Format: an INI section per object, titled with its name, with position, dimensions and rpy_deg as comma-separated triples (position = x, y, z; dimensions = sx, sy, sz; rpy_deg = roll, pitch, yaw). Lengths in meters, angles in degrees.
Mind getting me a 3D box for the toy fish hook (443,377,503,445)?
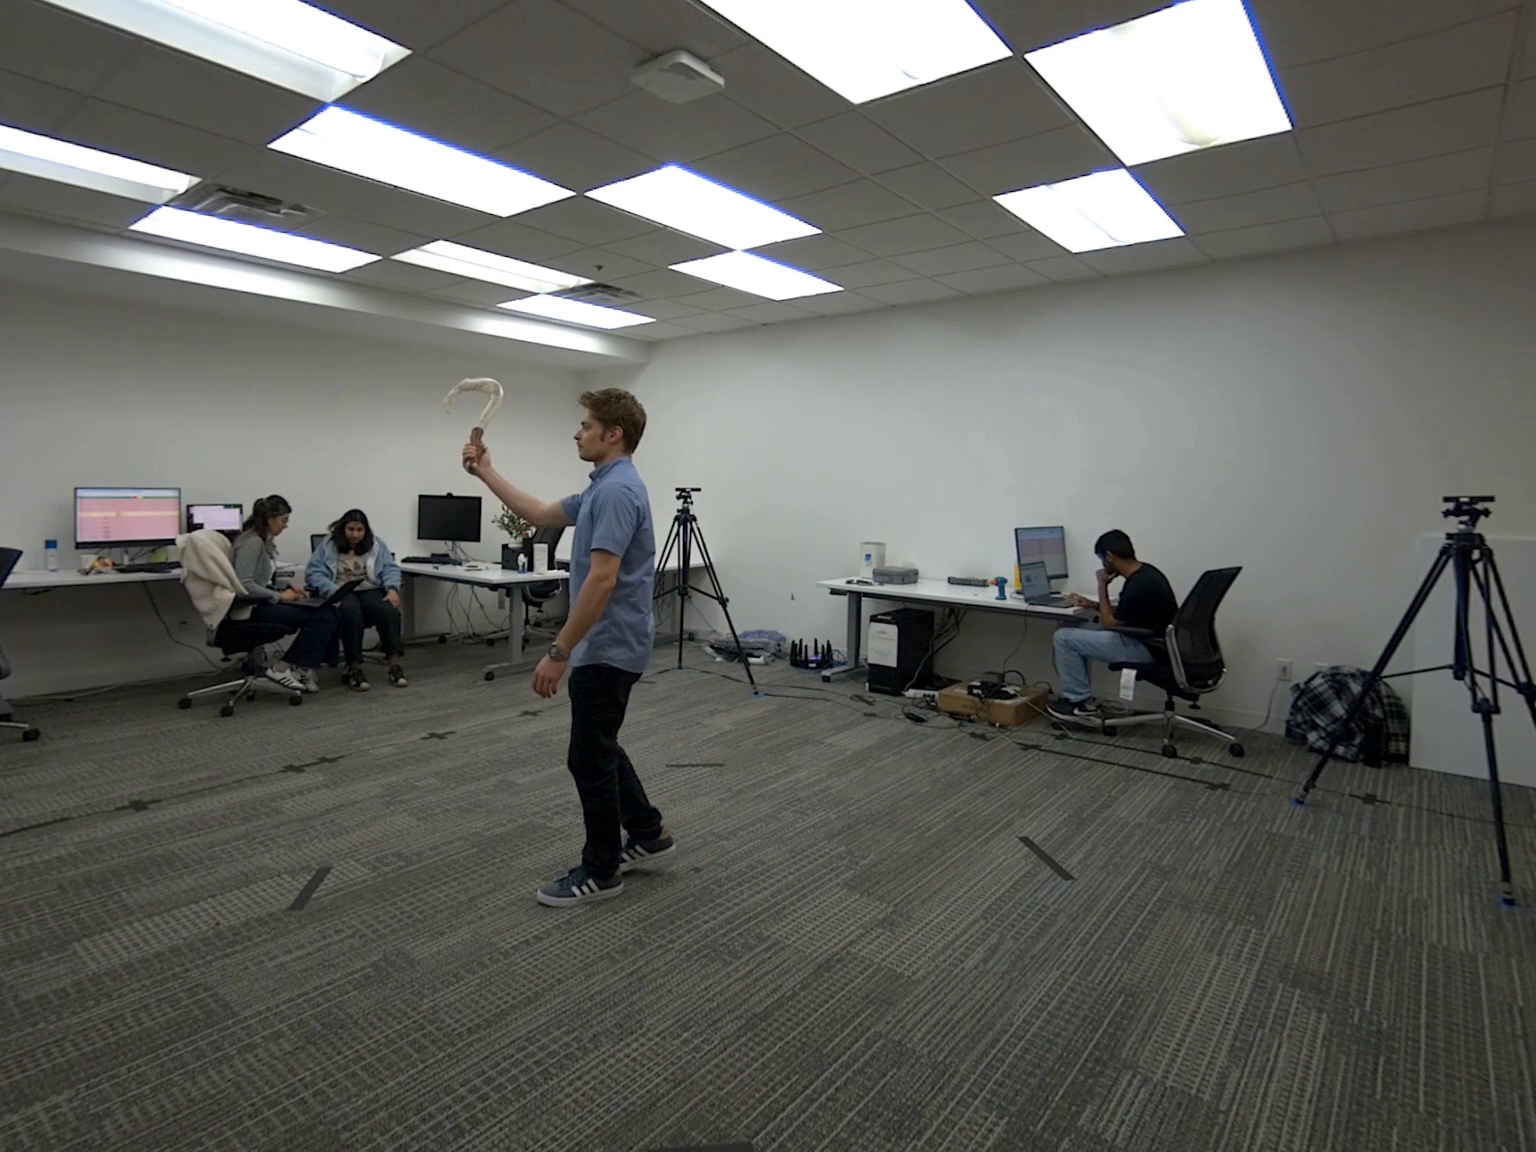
[toy fish hook]
position = -1.164, -0.566, 3.234
dimensions = 0.225, 0.522, 0.047
rpy_deg = -6, -39, 1
